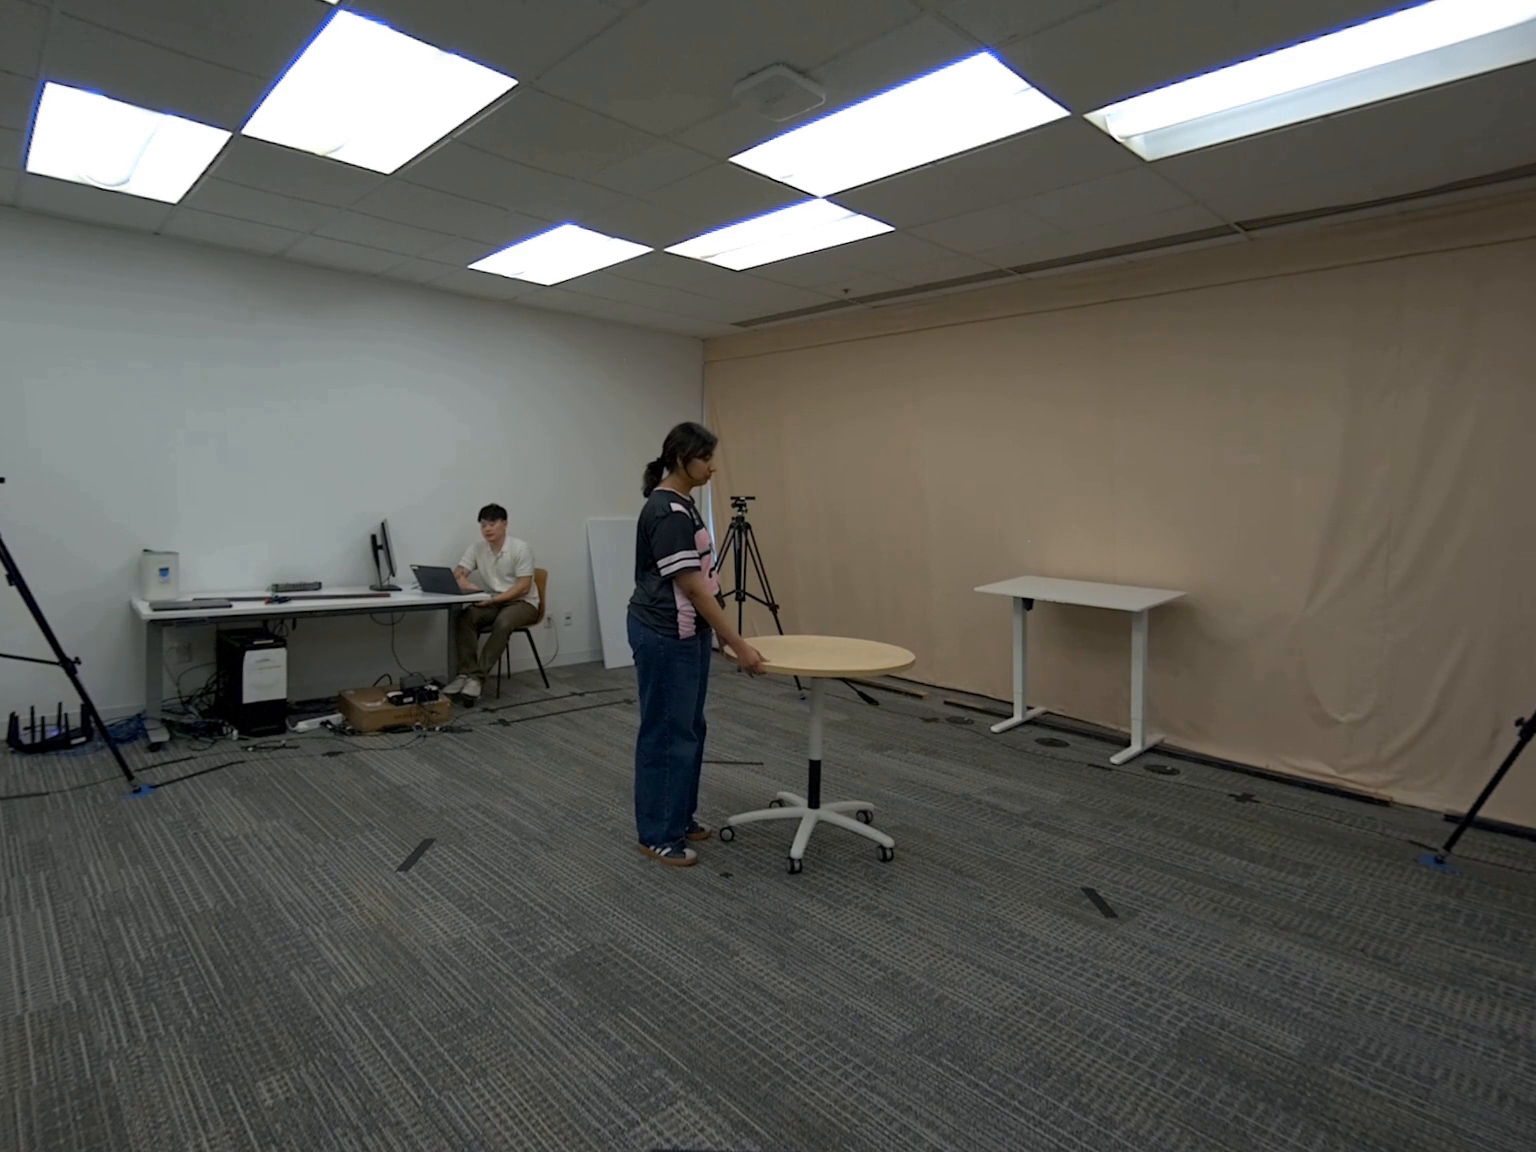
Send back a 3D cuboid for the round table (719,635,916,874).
[{"bbox_3d":[0.172,0.691,3.422,0.784,0.784,0.788,2,4,-2],"label":"round table"}]
